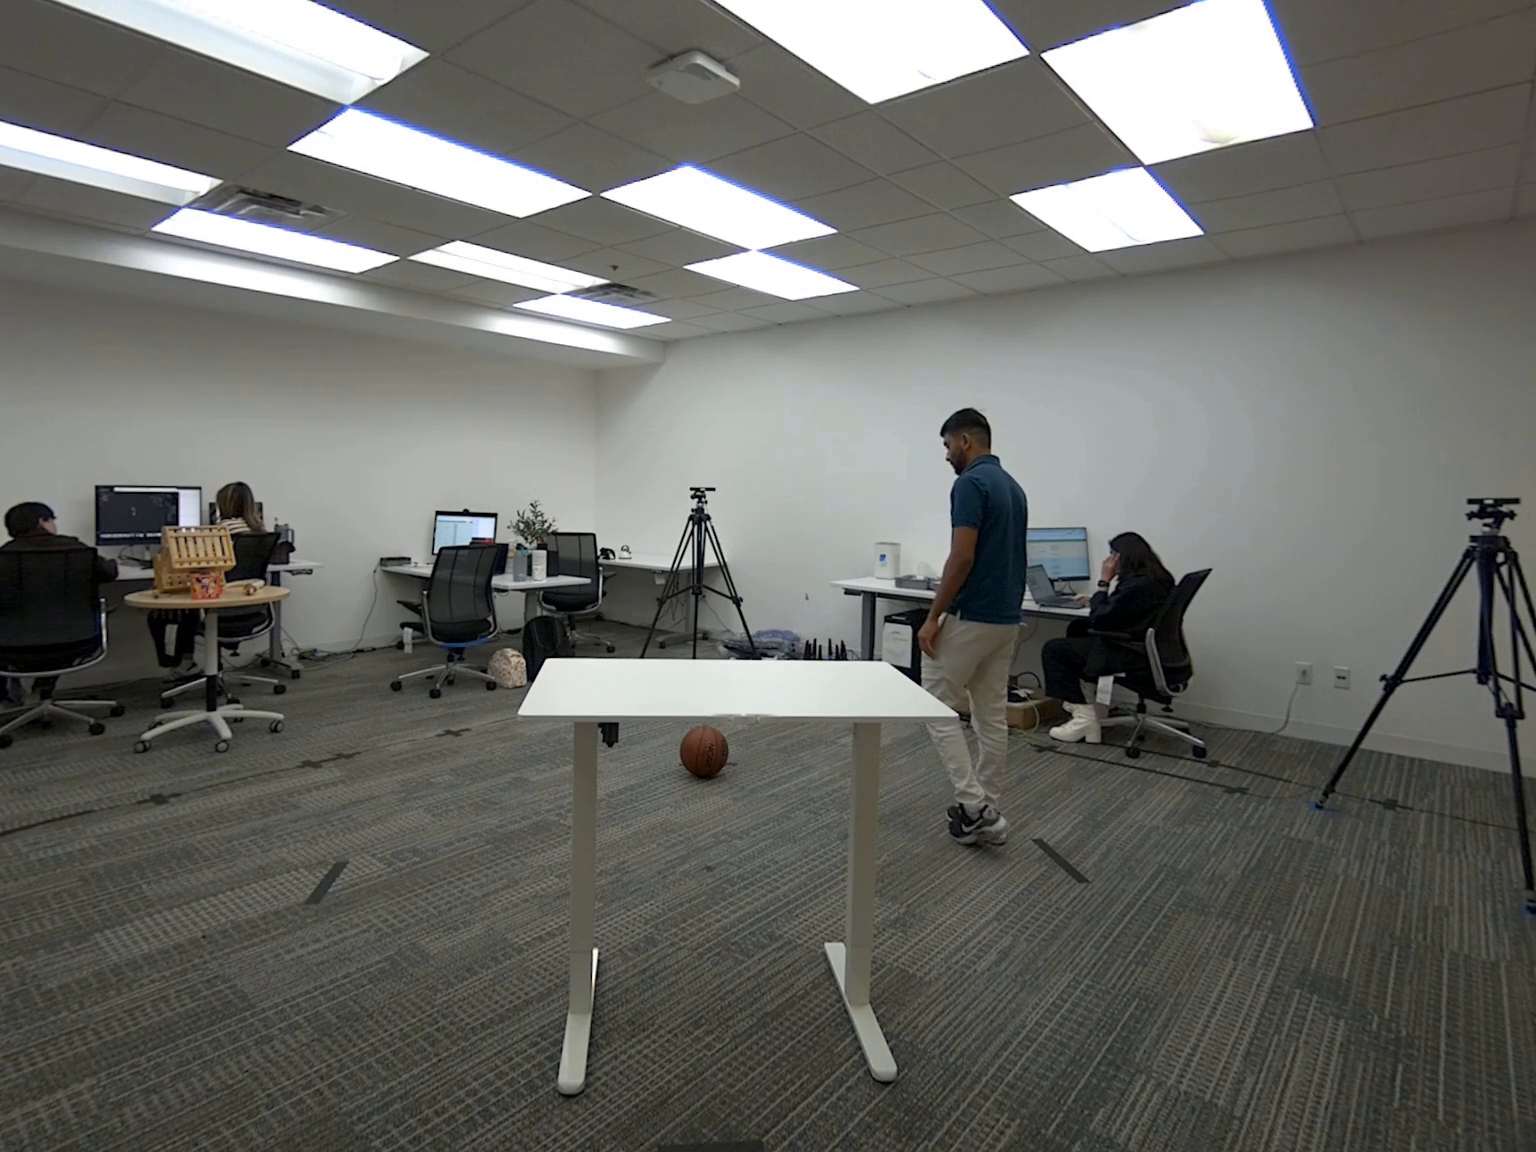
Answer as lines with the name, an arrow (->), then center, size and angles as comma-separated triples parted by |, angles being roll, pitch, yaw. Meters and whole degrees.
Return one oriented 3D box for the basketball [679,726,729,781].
basketball -> -0.319, 0.845, 4.127 | 0.235, 0.235, 0.237 | 1, 4, -2
